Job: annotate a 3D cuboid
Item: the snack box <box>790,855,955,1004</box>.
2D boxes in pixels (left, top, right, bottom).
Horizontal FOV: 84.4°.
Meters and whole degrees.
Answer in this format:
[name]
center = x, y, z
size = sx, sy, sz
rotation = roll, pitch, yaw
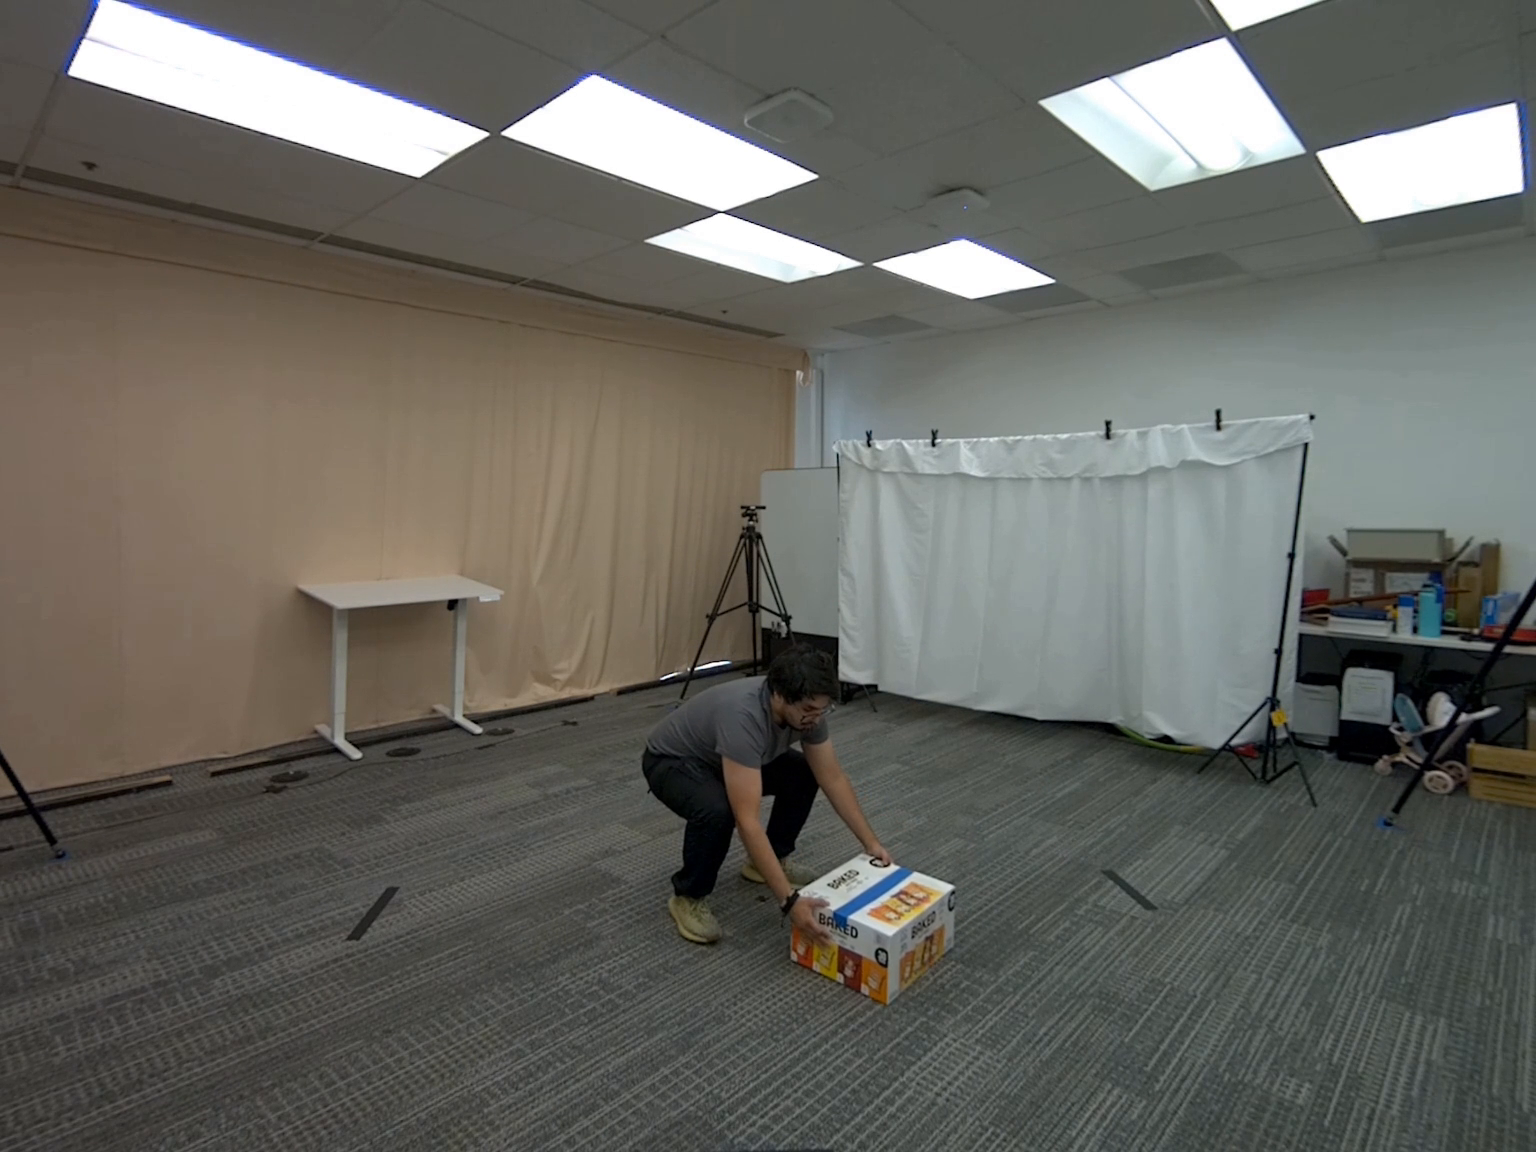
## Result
[snack box]
center = 0.336, 1.065, 2.589
size = 0.352, 0.205, 0.393
rotation = 6, 8, 40
